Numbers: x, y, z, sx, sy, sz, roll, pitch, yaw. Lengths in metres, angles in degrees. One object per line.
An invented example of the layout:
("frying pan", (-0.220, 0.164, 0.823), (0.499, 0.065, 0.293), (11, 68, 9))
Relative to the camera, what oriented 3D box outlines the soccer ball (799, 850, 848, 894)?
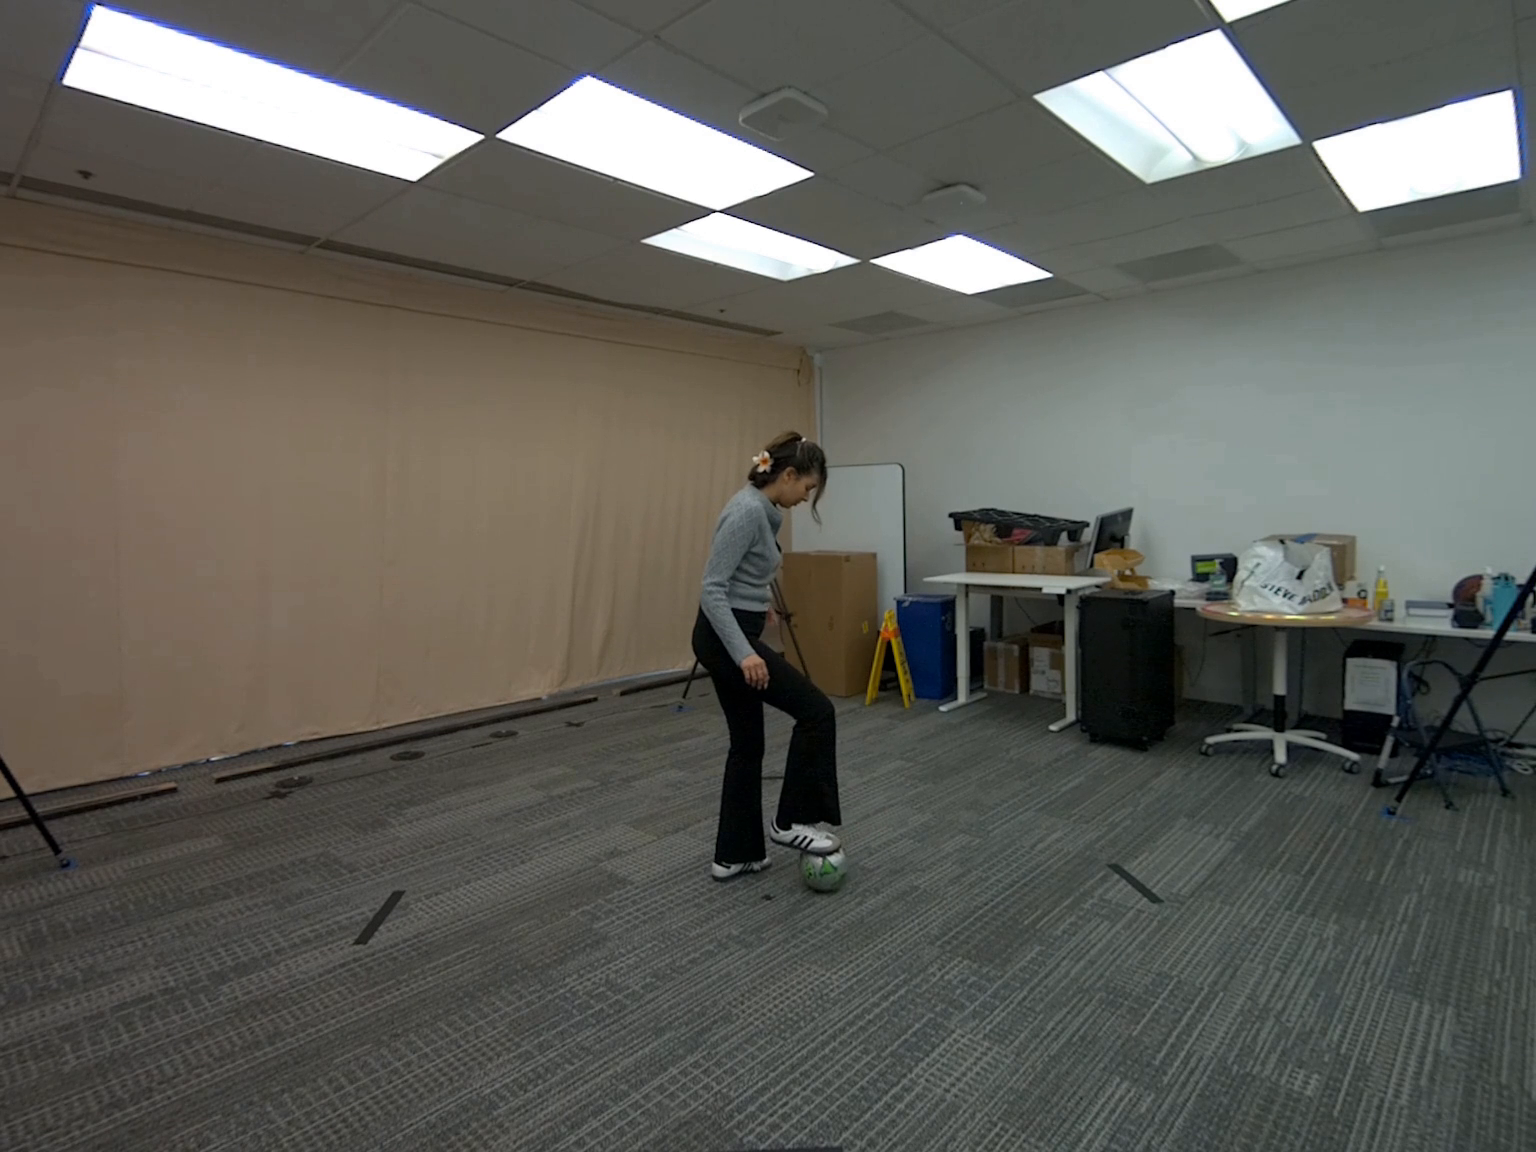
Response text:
("soccer ball", (0.207, 1.037, 3.053), (0.187, 0.187, 0.188), (-1, 4, -2))
